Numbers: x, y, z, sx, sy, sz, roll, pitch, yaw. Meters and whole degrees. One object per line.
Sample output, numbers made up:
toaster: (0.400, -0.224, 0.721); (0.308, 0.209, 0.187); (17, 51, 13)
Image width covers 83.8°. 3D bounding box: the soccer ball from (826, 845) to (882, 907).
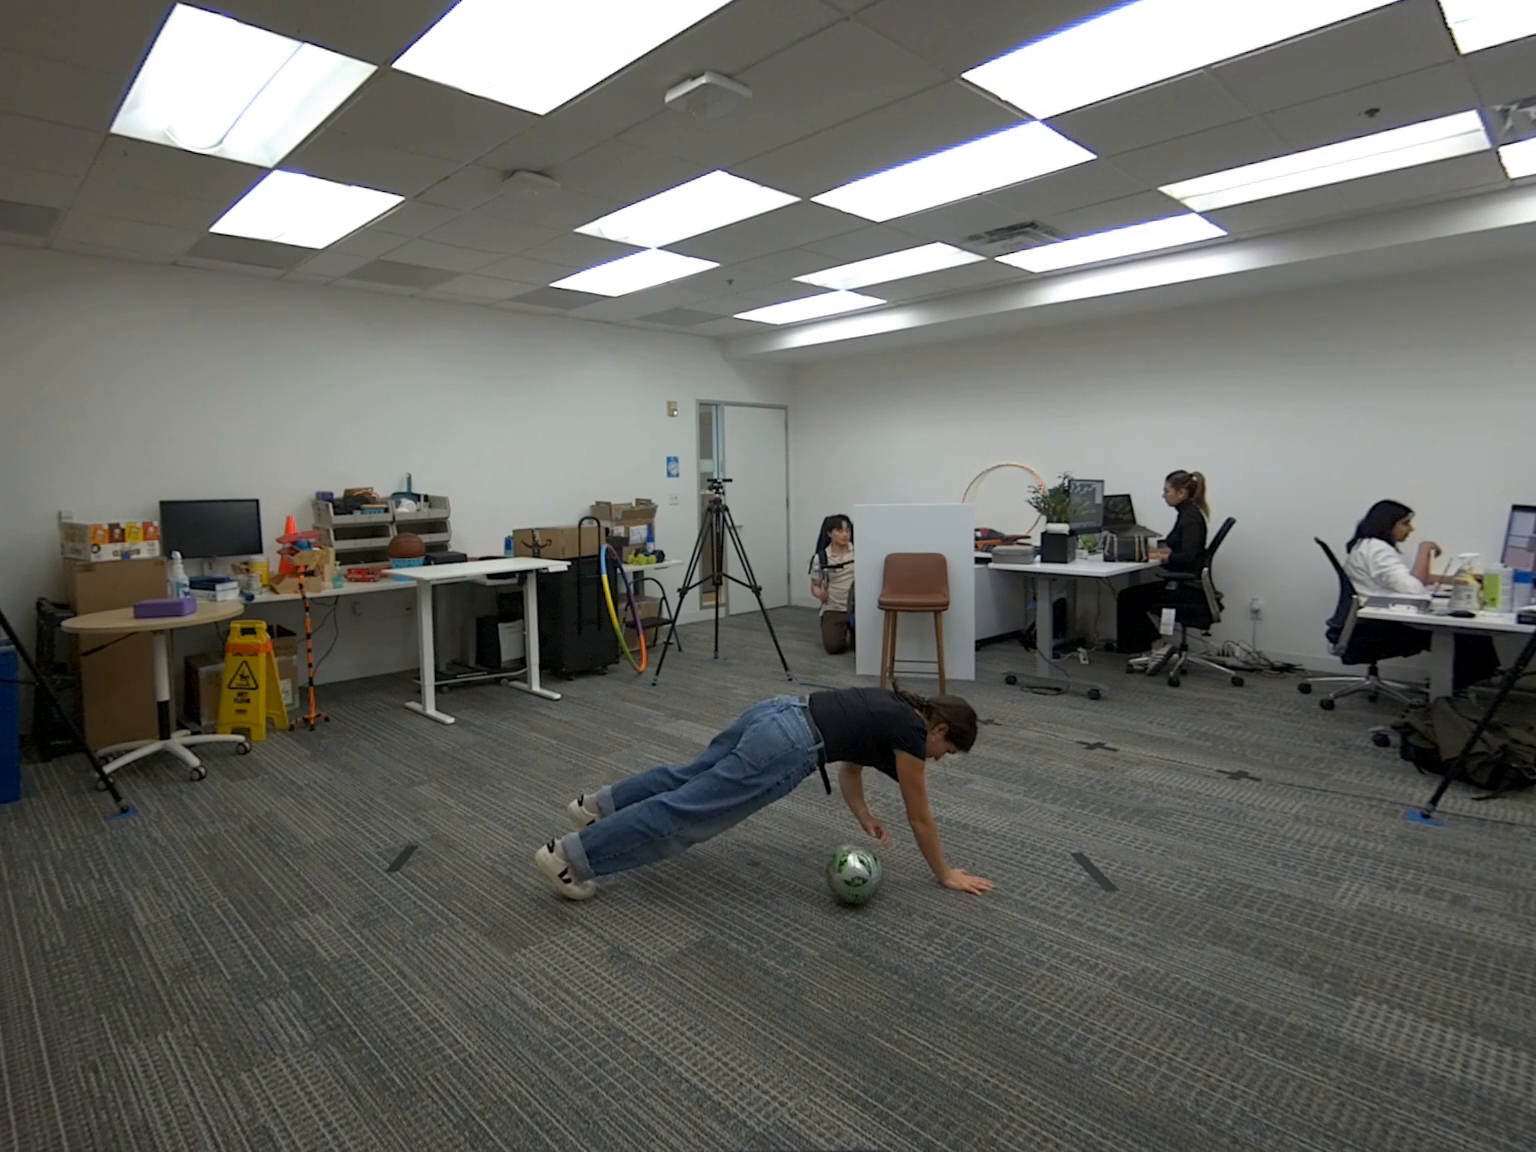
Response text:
soccer ball: (0.282, 0.972, 2.804); (0.187, 0.187, 0.188); (-1, 5, -2)
